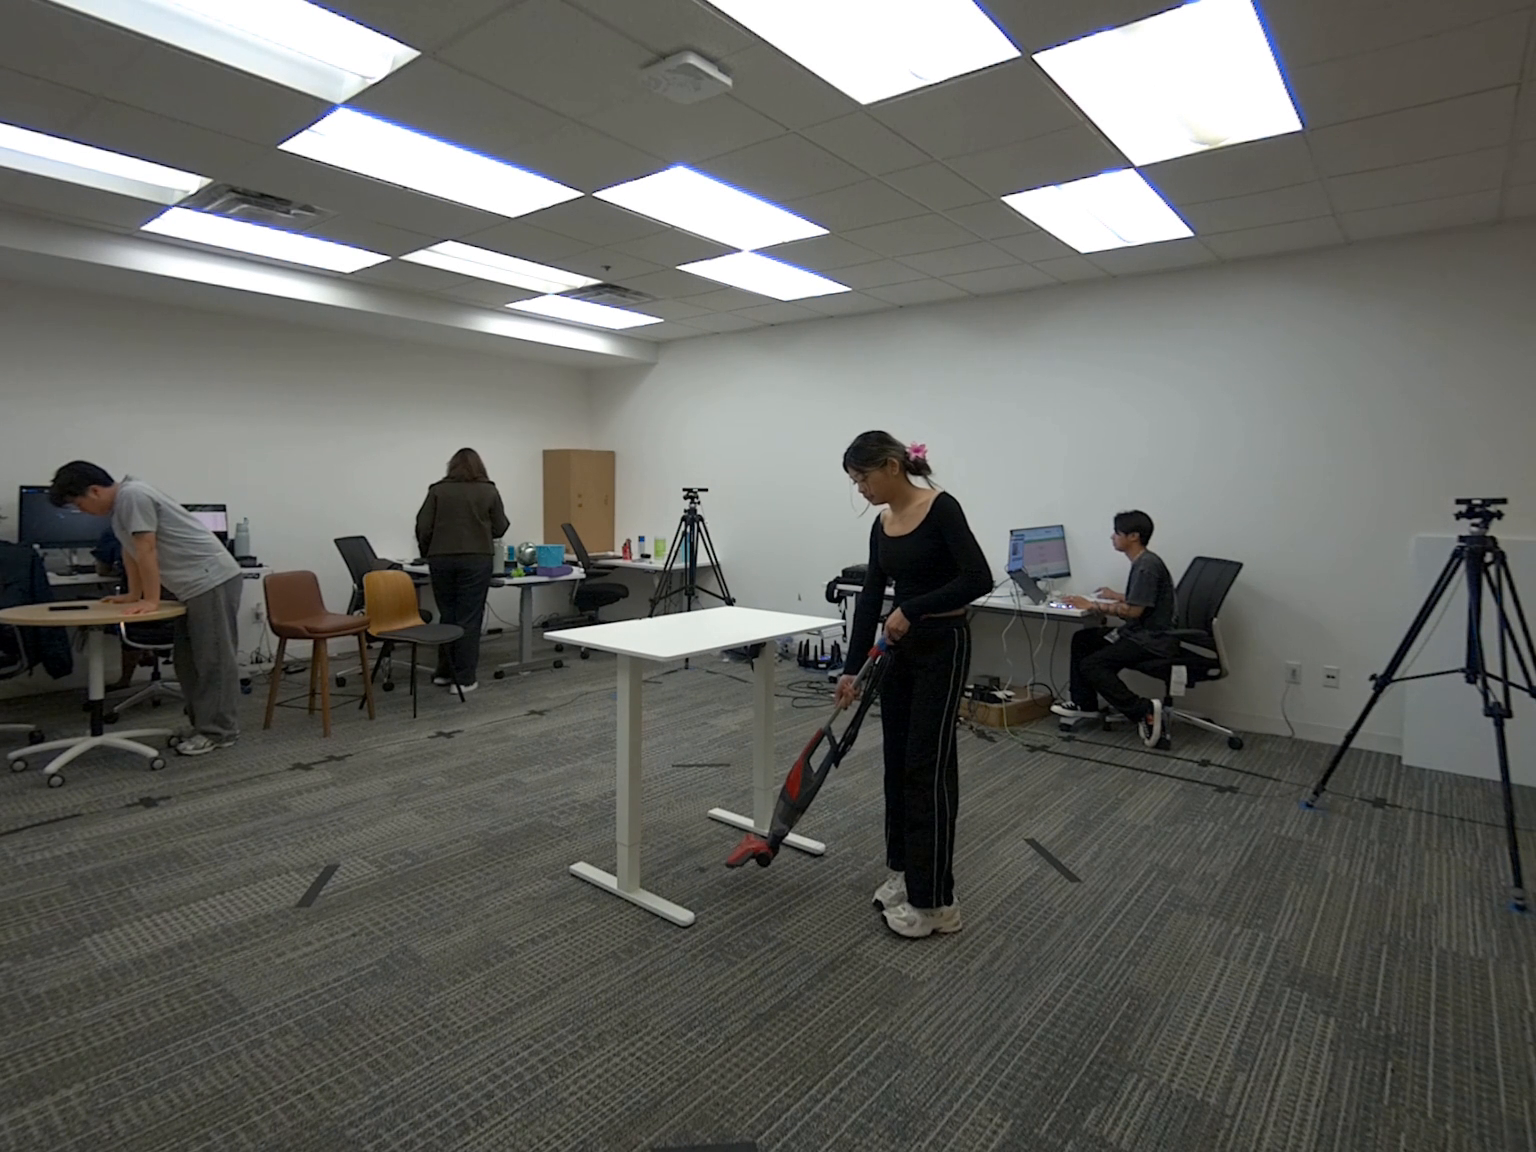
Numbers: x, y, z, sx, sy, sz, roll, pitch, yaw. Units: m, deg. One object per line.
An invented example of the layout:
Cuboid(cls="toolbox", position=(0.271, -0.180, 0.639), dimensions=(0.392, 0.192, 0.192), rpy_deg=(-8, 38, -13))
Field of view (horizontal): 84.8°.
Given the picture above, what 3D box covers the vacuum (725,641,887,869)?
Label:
Cuboid(cls="vacuum", position=(0.208, 0.566, 2.837), dimensions=(0.146, 1.046, 0.250), rpy_deg=(35, 14, 8))
